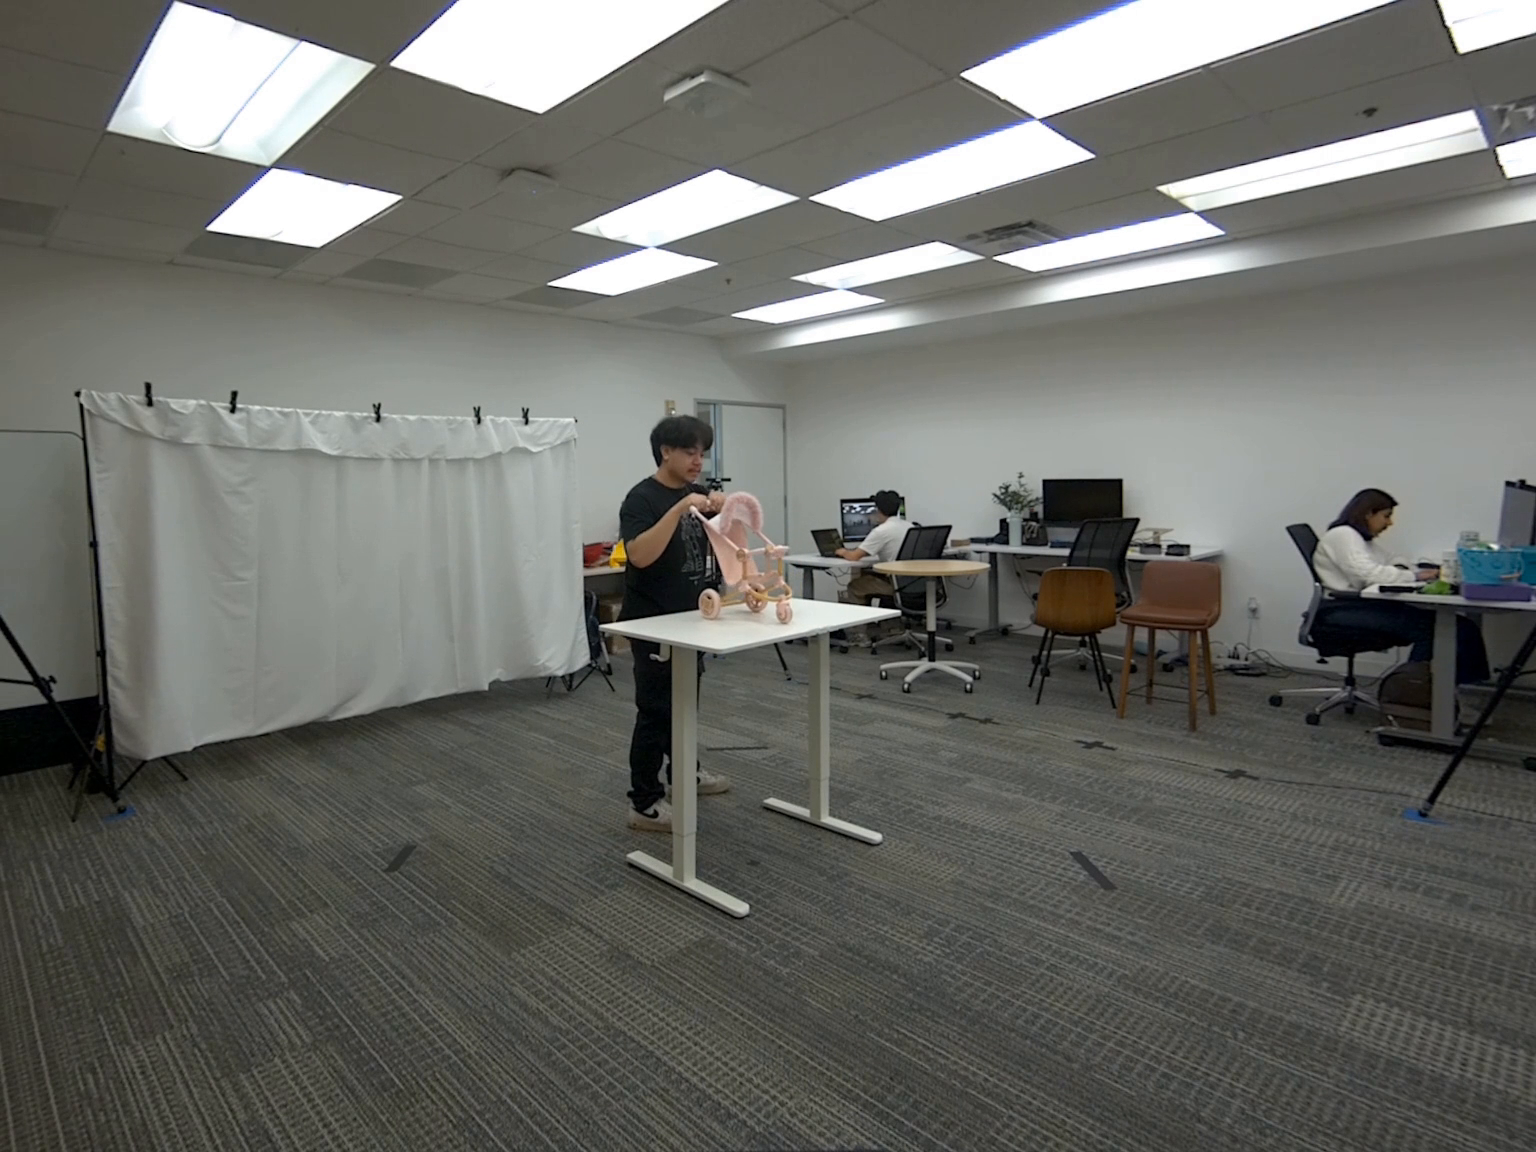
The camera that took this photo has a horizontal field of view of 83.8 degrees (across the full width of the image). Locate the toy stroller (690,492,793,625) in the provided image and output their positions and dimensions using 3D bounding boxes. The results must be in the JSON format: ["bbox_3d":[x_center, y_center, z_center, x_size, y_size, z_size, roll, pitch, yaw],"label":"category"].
[{"bbox_3d":[-0.081,-0.069,3.145,0.274,0.540,0.347,-4,-10,-41],"label":"toy stroller"}]
